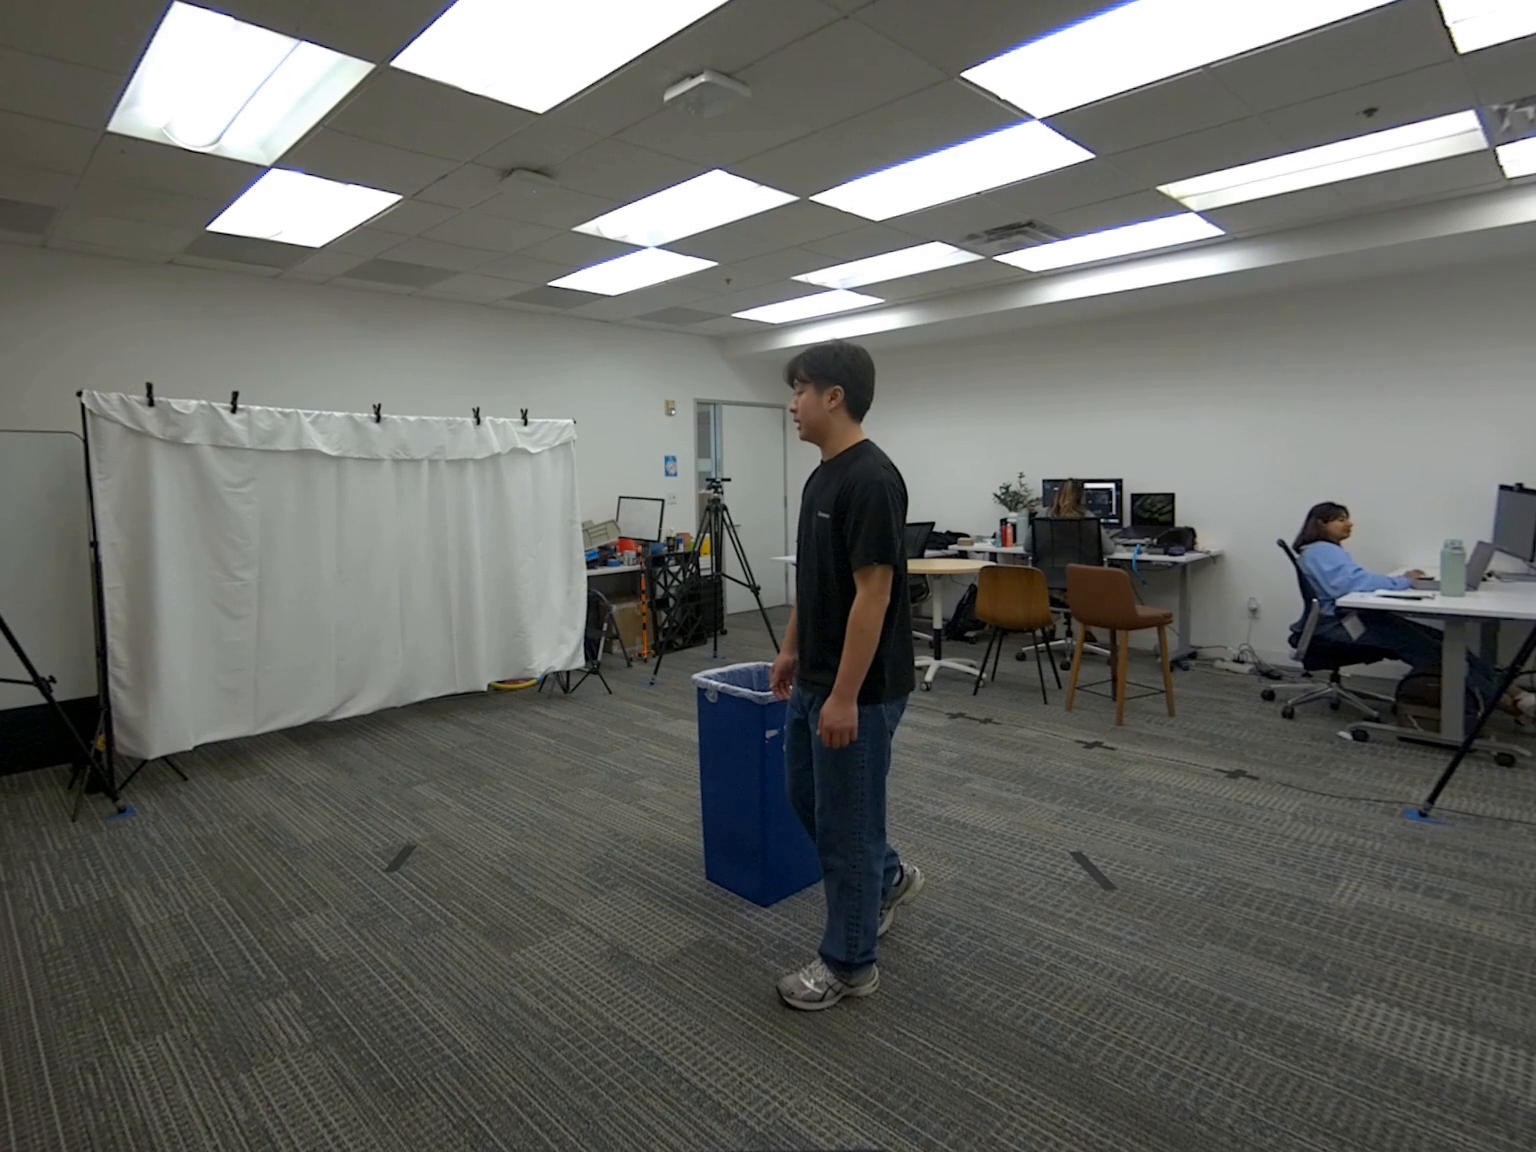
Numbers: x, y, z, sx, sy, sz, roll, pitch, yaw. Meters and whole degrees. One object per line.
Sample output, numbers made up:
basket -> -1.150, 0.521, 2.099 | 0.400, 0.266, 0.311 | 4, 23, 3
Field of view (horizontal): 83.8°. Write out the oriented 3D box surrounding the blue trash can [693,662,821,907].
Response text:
blue trash can -> -0.011, 0.698, 2.970 | 0.364, 0.711, 0.390 | -5, 6, -43
